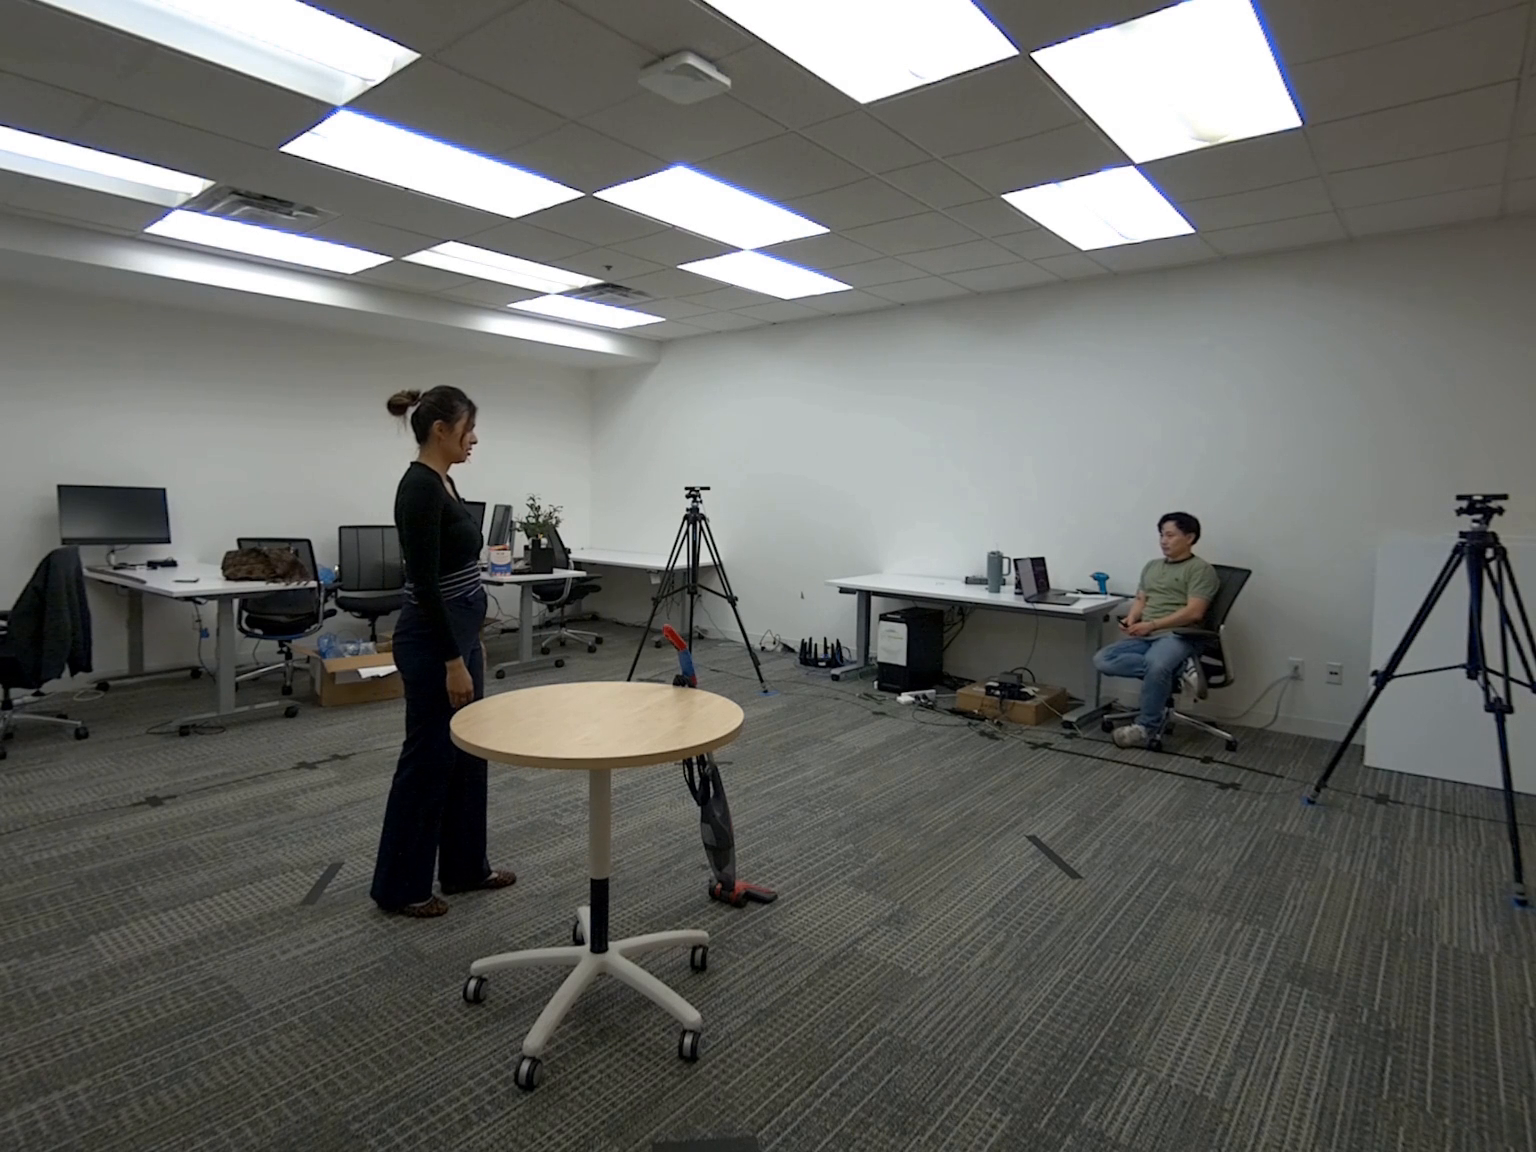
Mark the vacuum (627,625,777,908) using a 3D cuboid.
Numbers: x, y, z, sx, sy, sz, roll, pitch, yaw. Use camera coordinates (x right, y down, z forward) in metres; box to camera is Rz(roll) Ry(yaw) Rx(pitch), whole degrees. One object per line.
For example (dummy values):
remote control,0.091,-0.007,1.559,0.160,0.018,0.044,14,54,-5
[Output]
vacuum,-0.209,0.624,2.704,0.260,1.025,0.143,3,26,34
